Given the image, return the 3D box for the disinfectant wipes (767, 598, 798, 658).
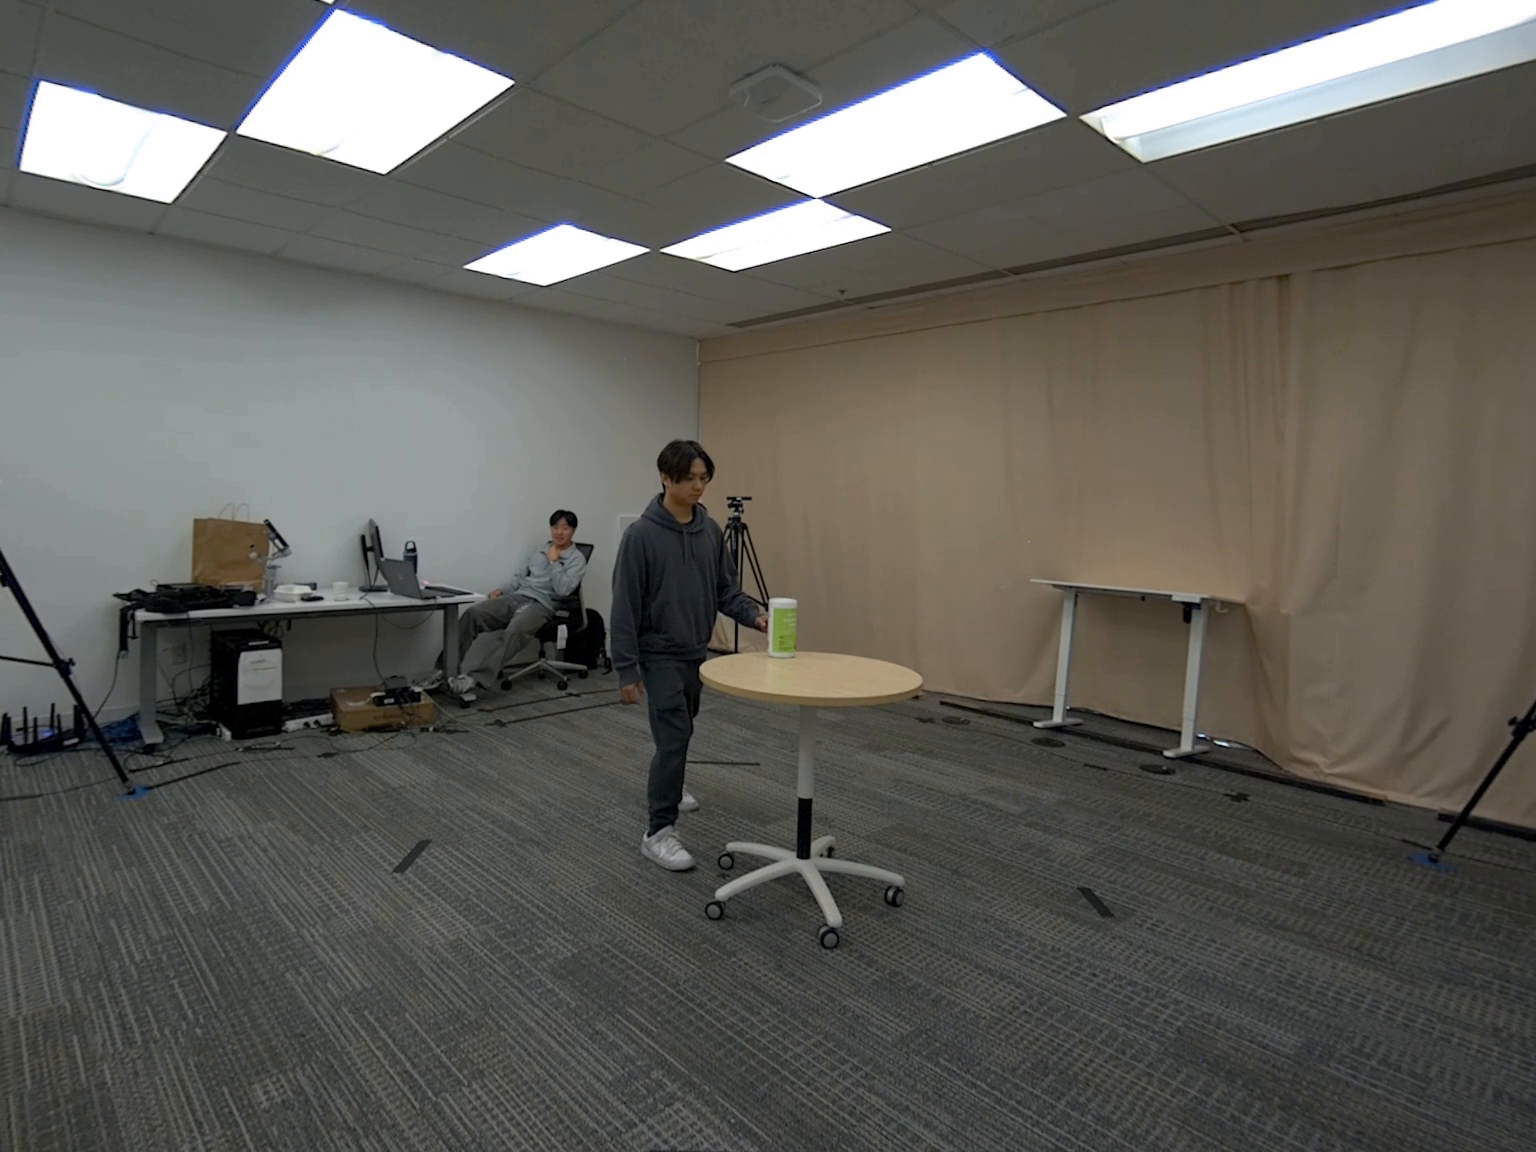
[{"bbox_3d":[0.043,0.192,3.201,0.118,0.217,0.118,2,3,-1],"label":"disinfectant wipes"}]
